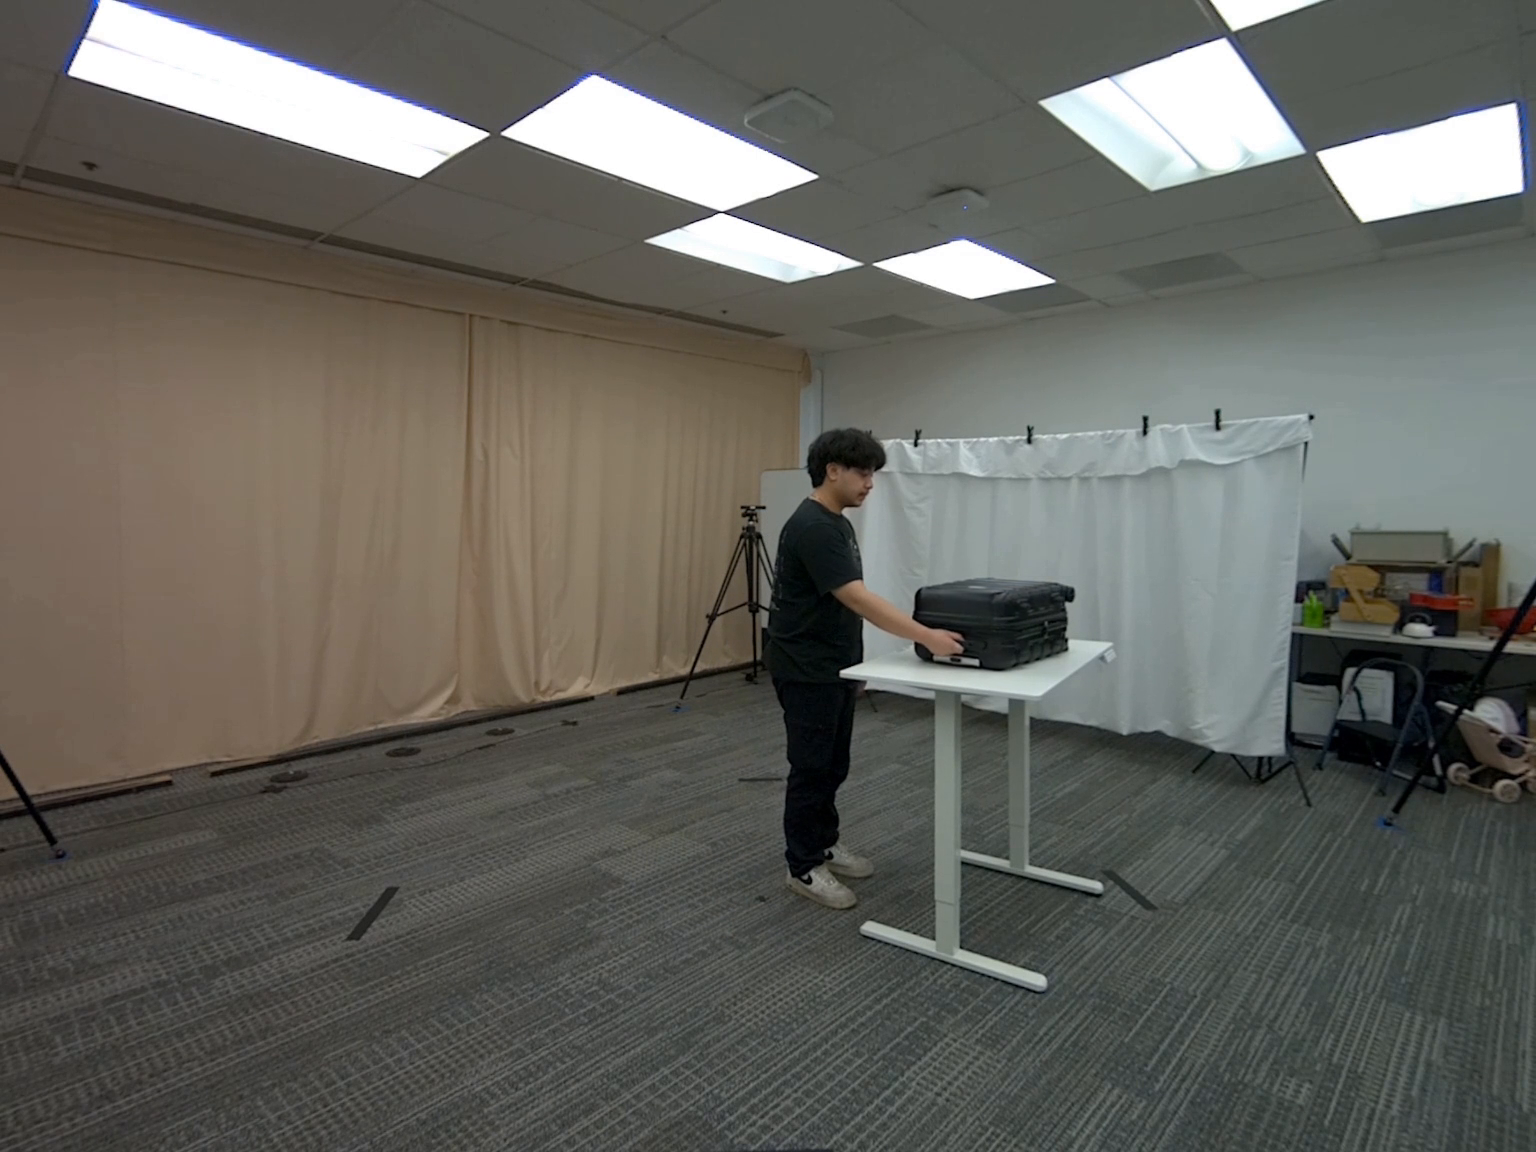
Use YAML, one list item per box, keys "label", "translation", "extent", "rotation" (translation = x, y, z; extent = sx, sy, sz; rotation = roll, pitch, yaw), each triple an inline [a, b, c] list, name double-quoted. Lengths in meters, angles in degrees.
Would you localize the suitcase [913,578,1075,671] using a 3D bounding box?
- label: "suitcase"
  translation: [0.770, 0.155, 2.823]
  extent: [0.388, 0.248, 0.532]
  rotation: [5, 6, 43]
